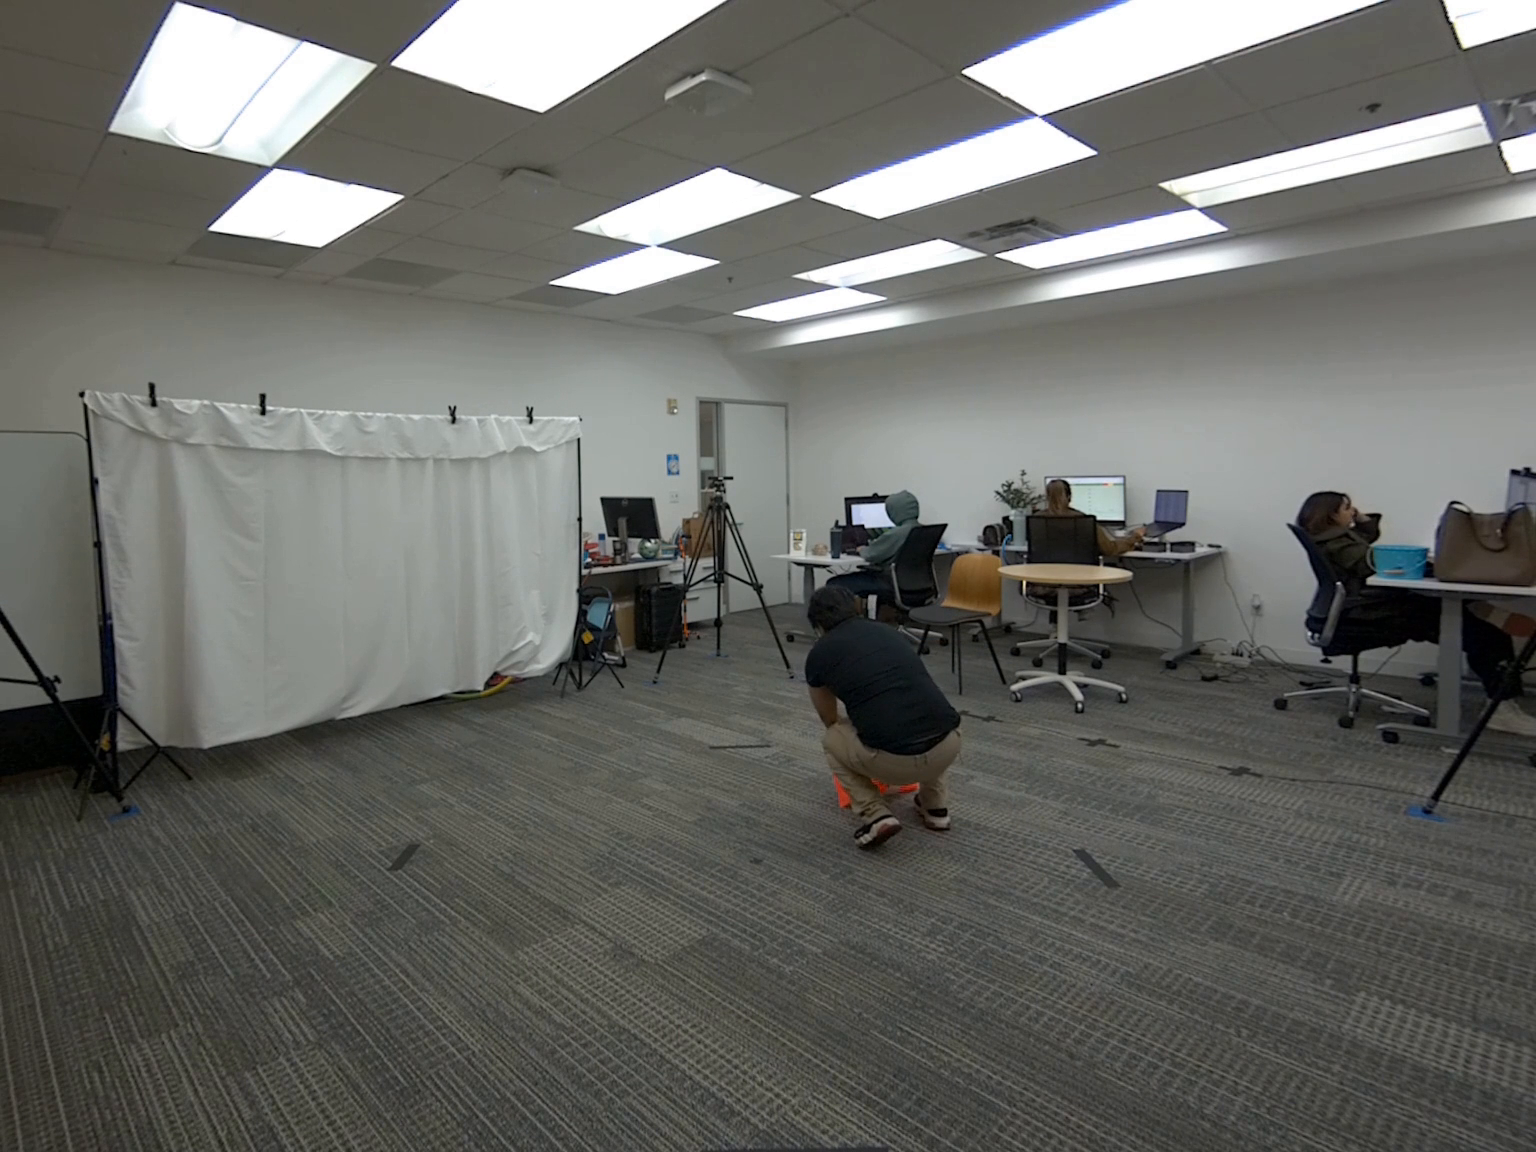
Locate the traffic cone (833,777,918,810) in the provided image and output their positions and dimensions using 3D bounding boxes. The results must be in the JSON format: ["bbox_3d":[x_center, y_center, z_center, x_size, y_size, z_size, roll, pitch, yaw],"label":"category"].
[{"bbox_3d":[0.512,0.910,3.701,0.373,0.209,0.204,21,-51,-25],"label":"traffic cone"}]
